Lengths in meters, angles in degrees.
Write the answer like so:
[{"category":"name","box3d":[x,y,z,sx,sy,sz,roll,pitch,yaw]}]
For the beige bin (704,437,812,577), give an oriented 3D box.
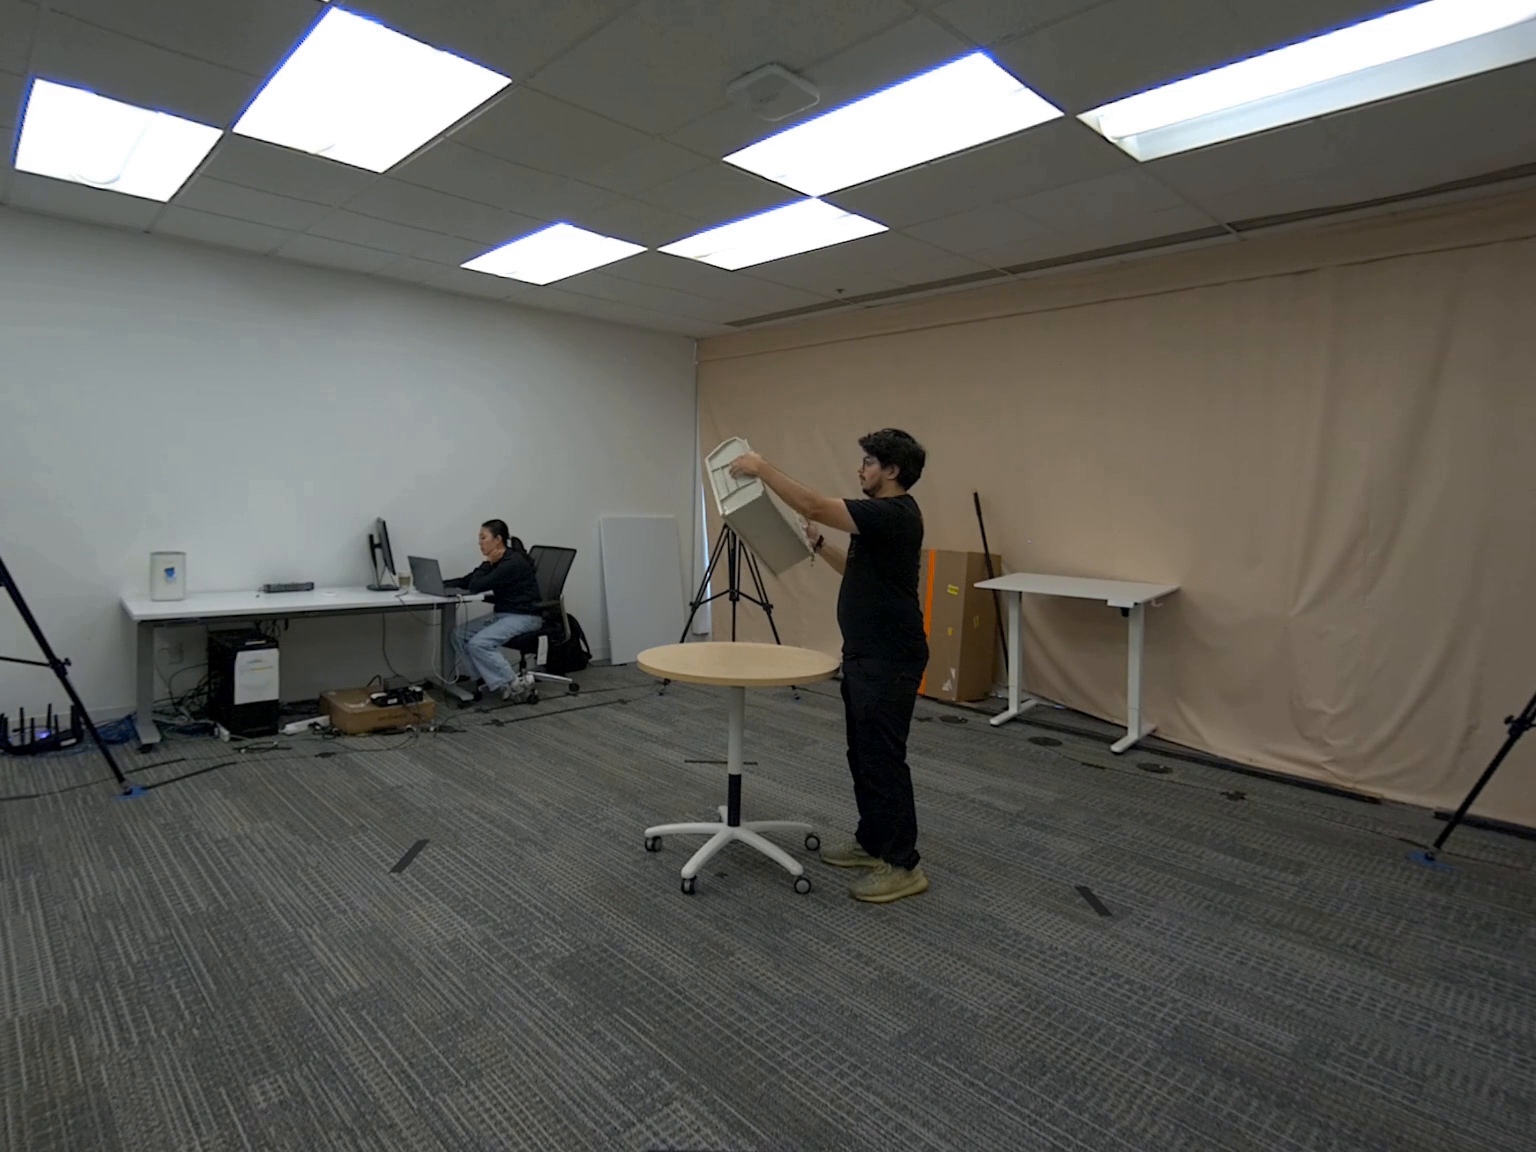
[{"category":"beige bin","box3d":[-0.037,-0.264,3.196,0.189,0.388,0.409,-30,-47,10]}]
